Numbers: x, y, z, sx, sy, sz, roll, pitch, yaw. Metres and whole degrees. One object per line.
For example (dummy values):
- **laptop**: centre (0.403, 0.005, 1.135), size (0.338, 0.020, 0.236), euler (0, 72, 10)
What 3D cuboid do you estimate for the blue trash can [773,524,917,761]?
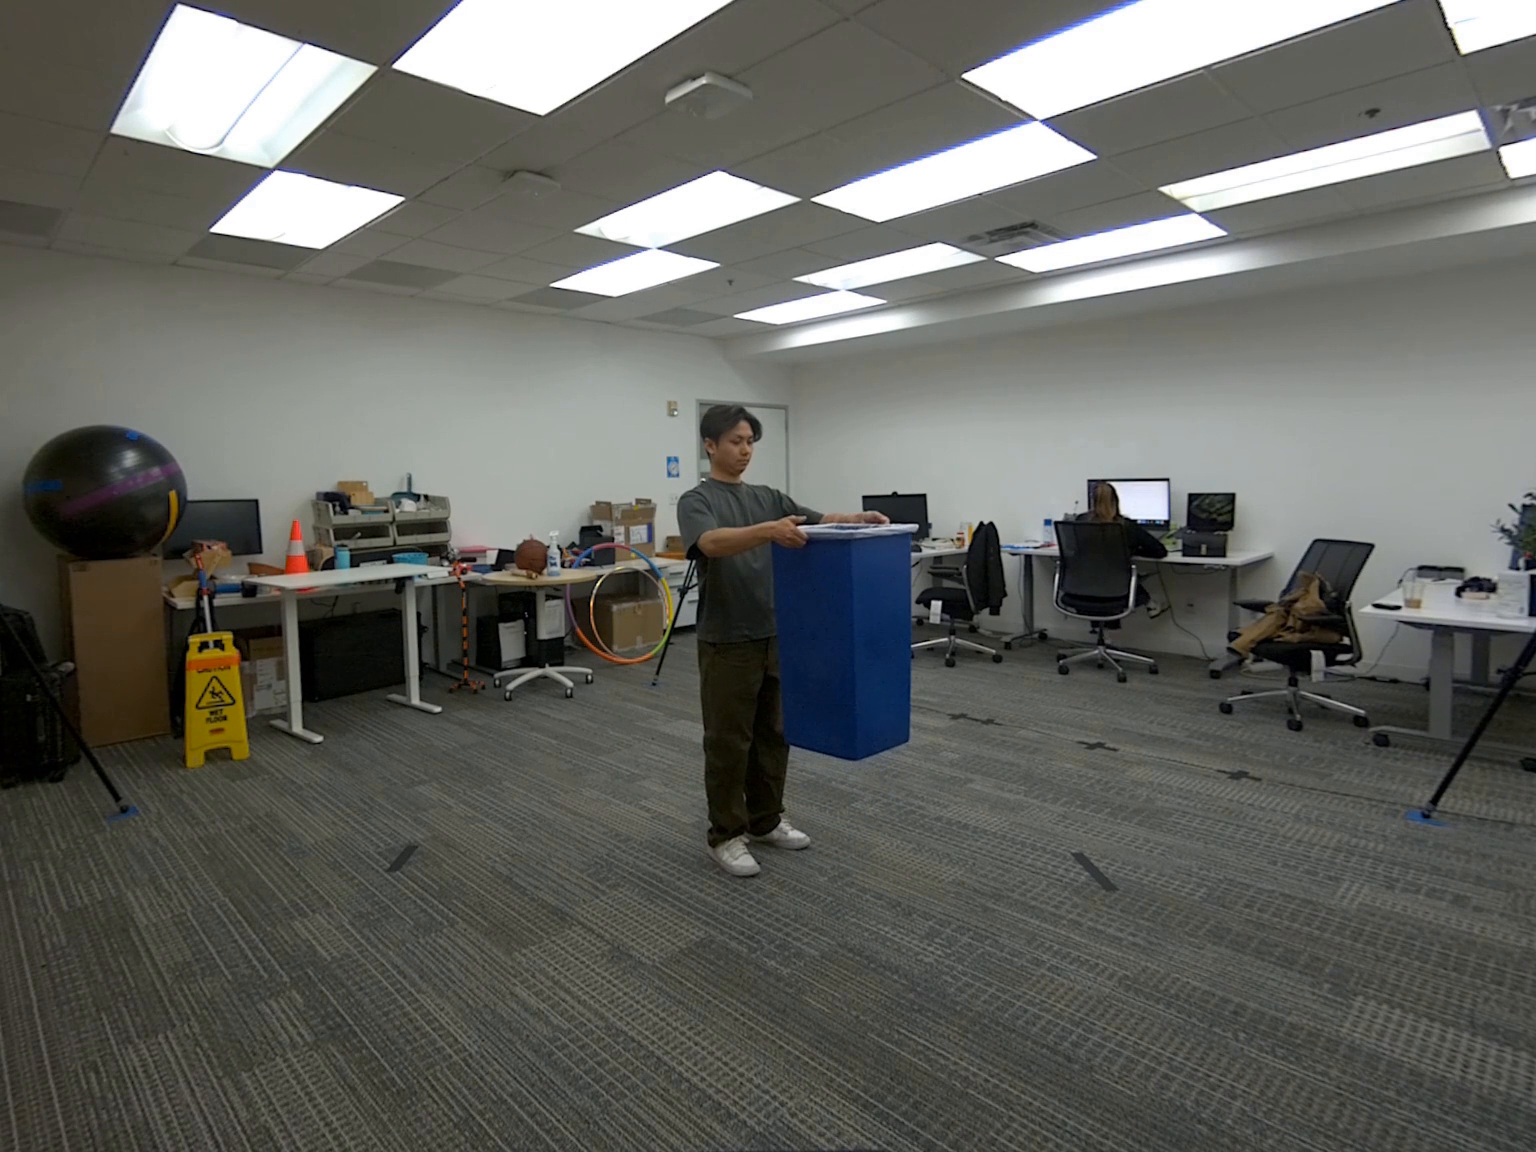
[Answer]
- **blue trash can**: centre (0.261, 0.199, 2.804), size (0.385, 0.712, 0.368), euler (1, 4, 44)
